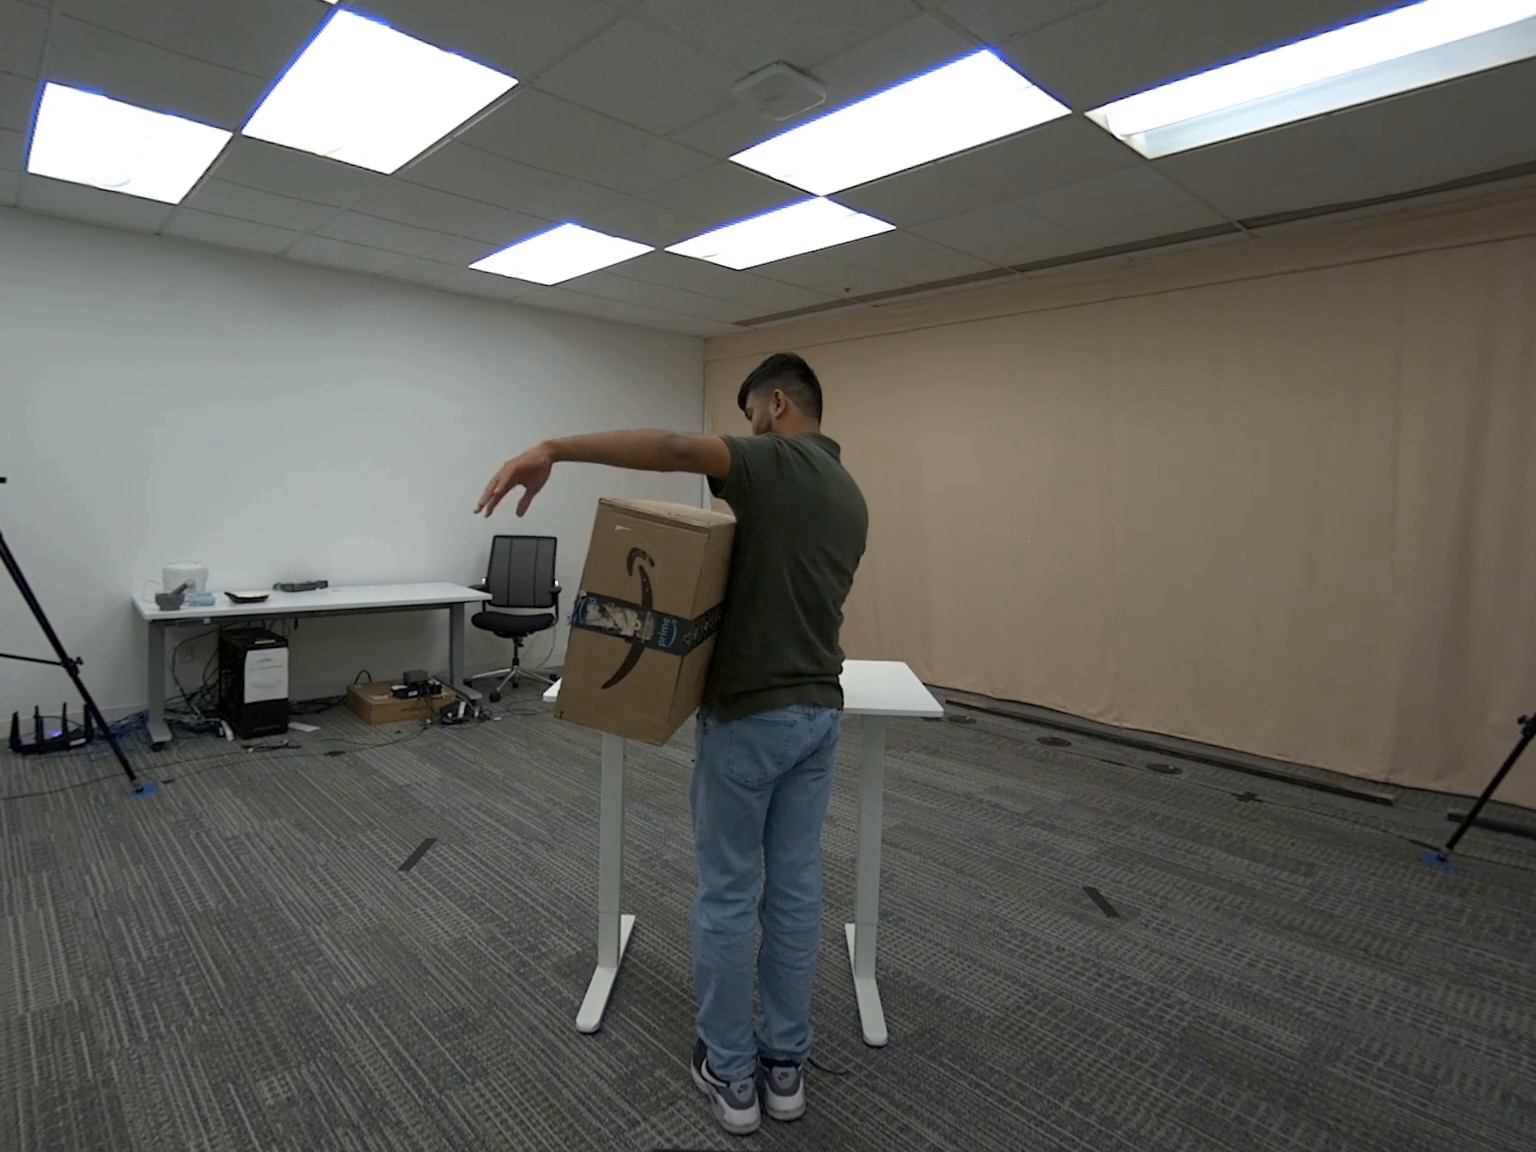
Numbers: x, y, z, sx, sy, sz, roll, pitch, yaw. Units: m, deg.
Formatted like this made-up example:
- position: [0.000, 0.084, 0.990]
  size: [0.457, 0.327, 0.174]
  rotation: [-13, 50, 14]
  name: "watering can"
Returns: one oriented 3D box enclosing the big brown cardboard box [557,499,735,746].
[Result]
- position: [-0.214, 0.063, 1.798]
  size: [0.235, 0.417, 0.585]
  rotation: [12, 4, 8]
  name: "big brown cardboard box"
